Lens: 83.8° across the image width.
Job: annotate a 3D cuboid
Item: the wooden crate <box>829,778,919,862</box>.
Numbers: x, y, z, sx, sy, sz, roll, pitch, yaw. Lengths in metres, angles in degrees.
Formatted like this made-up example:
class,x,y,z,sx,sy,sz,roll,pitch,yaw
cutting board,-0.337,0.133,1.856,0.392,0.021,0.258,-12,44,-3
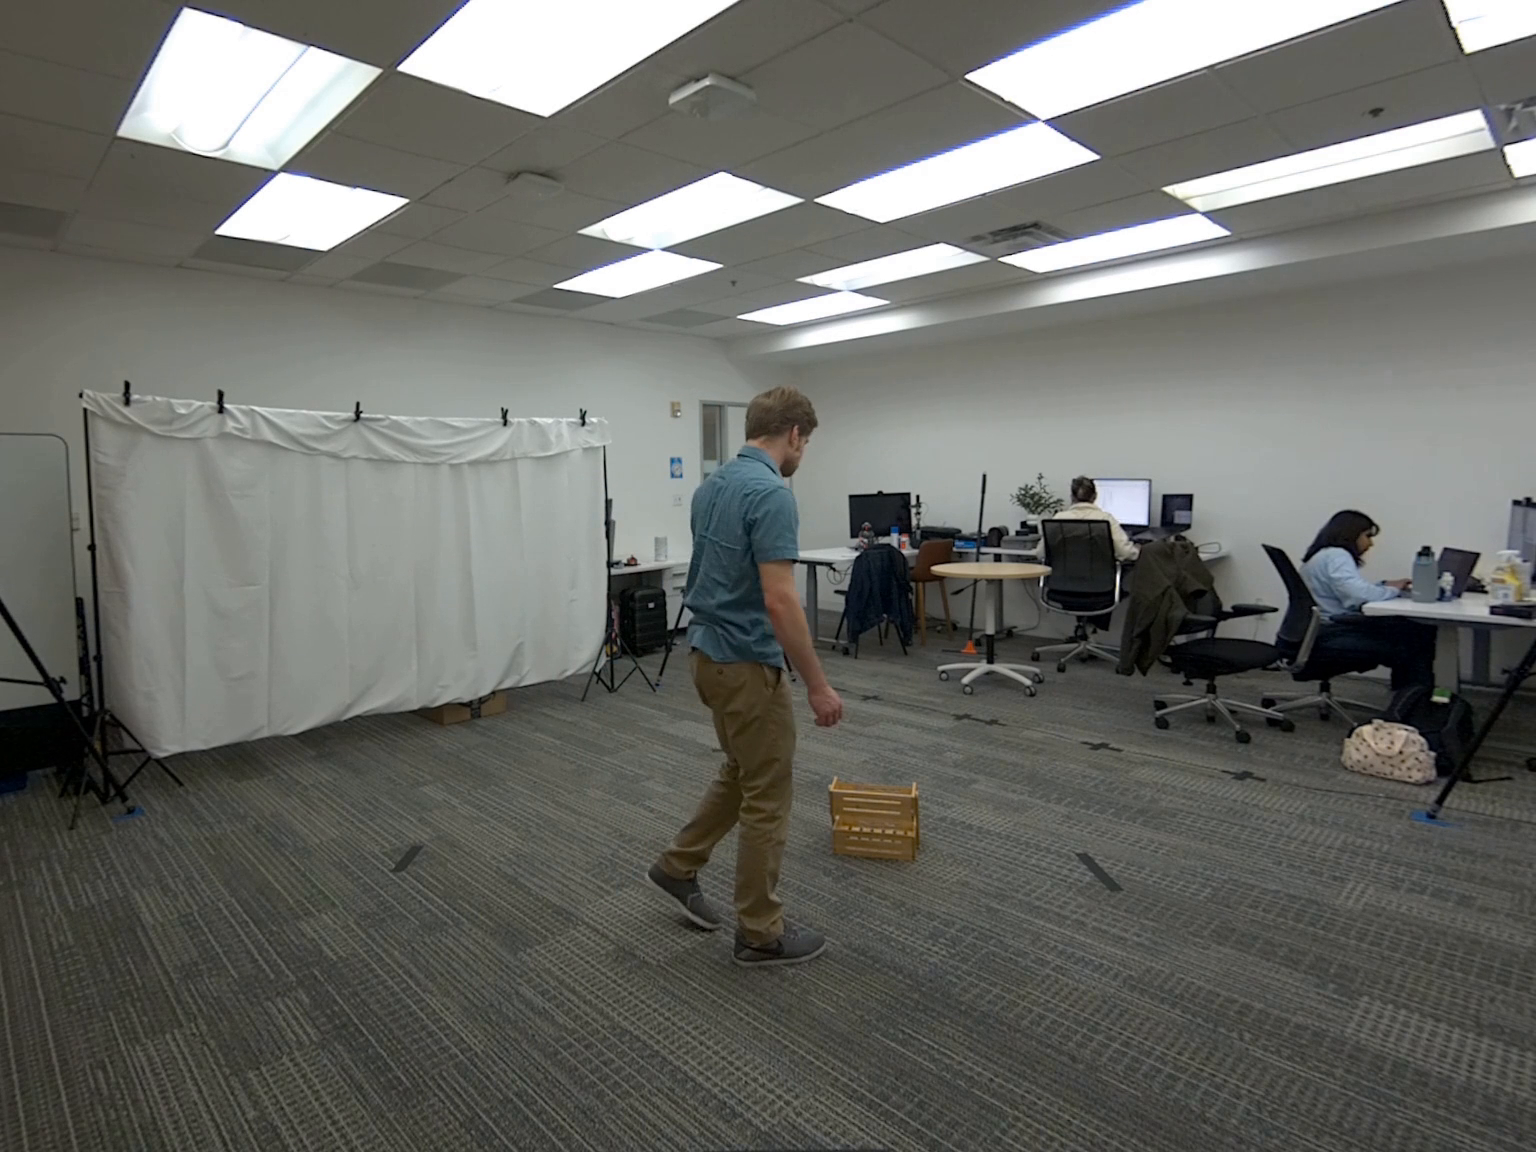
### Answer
class,x,y,z,sx,sy,sz,roll,pitch,yaw
wooden crate,0.409,0.892,3.236,0.329,0.272,0.299,0,5,13
